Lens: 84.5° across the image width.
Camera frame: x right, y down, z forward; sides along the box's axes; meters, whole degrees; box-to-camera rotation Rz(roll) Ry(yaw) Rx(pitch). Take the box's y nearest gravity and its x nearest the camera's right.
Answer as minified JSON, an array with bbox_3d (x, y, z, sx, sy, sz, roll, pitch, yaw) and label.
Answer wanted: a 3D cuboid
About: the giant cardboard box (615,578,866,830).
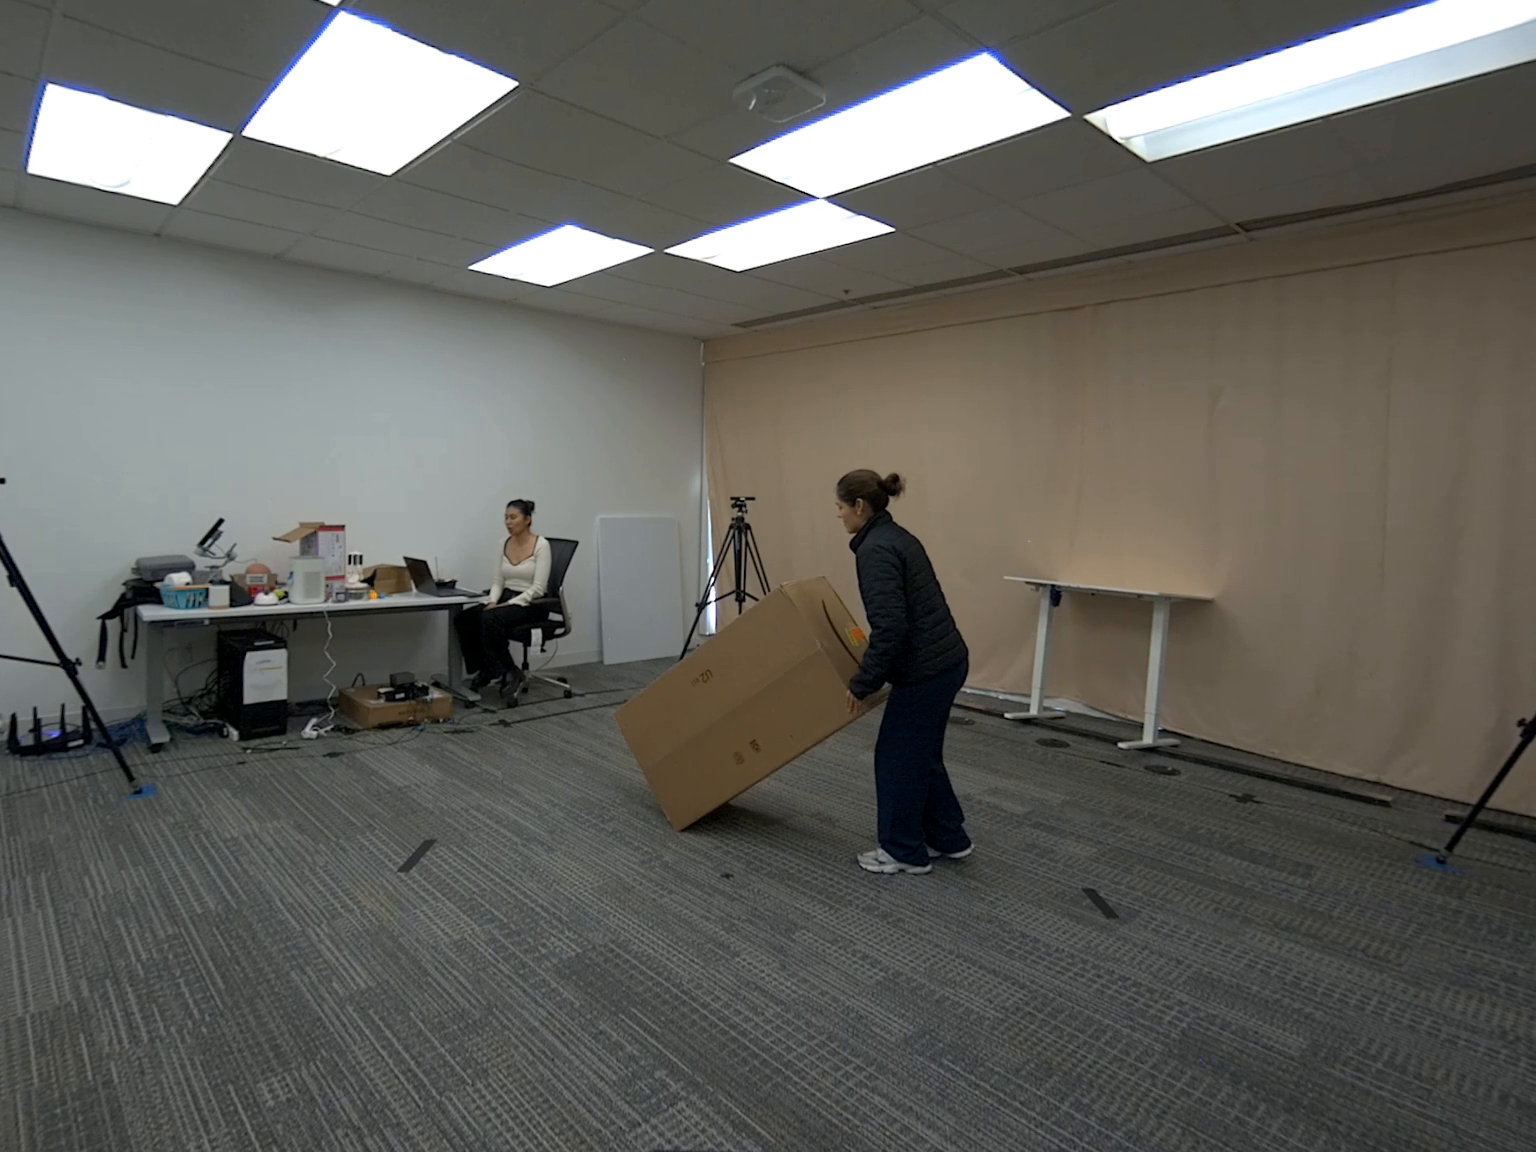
[{"bbox_3d":[-0.076,0.532,3.540,1.031,0.593,0.438,-37,-15,24],"label":"giant cardboard box"}]
